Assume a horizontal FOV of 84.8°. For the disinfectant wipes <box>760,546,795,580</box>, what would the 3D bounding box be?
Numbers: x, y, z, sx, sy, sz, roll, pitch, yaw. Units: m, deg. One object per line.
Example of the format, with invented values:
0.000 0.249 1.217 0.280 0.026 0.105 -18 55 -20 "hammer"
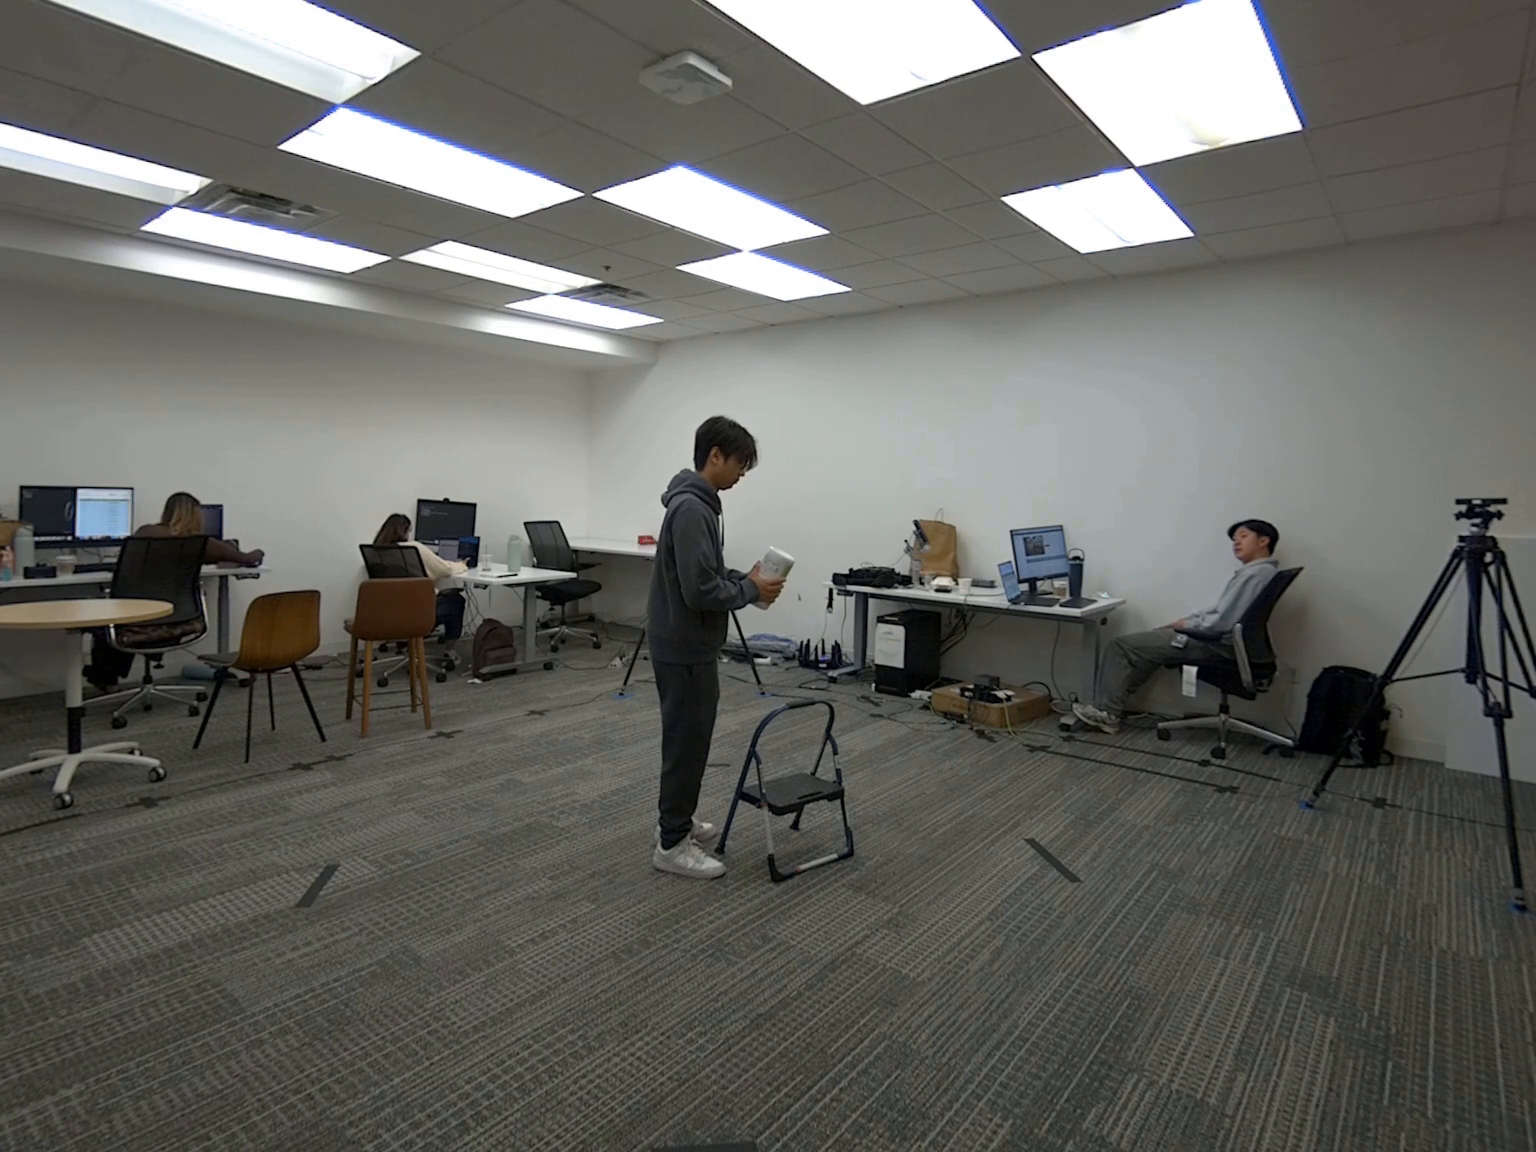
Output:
-0.005 0.008 3.089 0.117 0.217 0.119 28 8 -7 "disinfectant wipes"
